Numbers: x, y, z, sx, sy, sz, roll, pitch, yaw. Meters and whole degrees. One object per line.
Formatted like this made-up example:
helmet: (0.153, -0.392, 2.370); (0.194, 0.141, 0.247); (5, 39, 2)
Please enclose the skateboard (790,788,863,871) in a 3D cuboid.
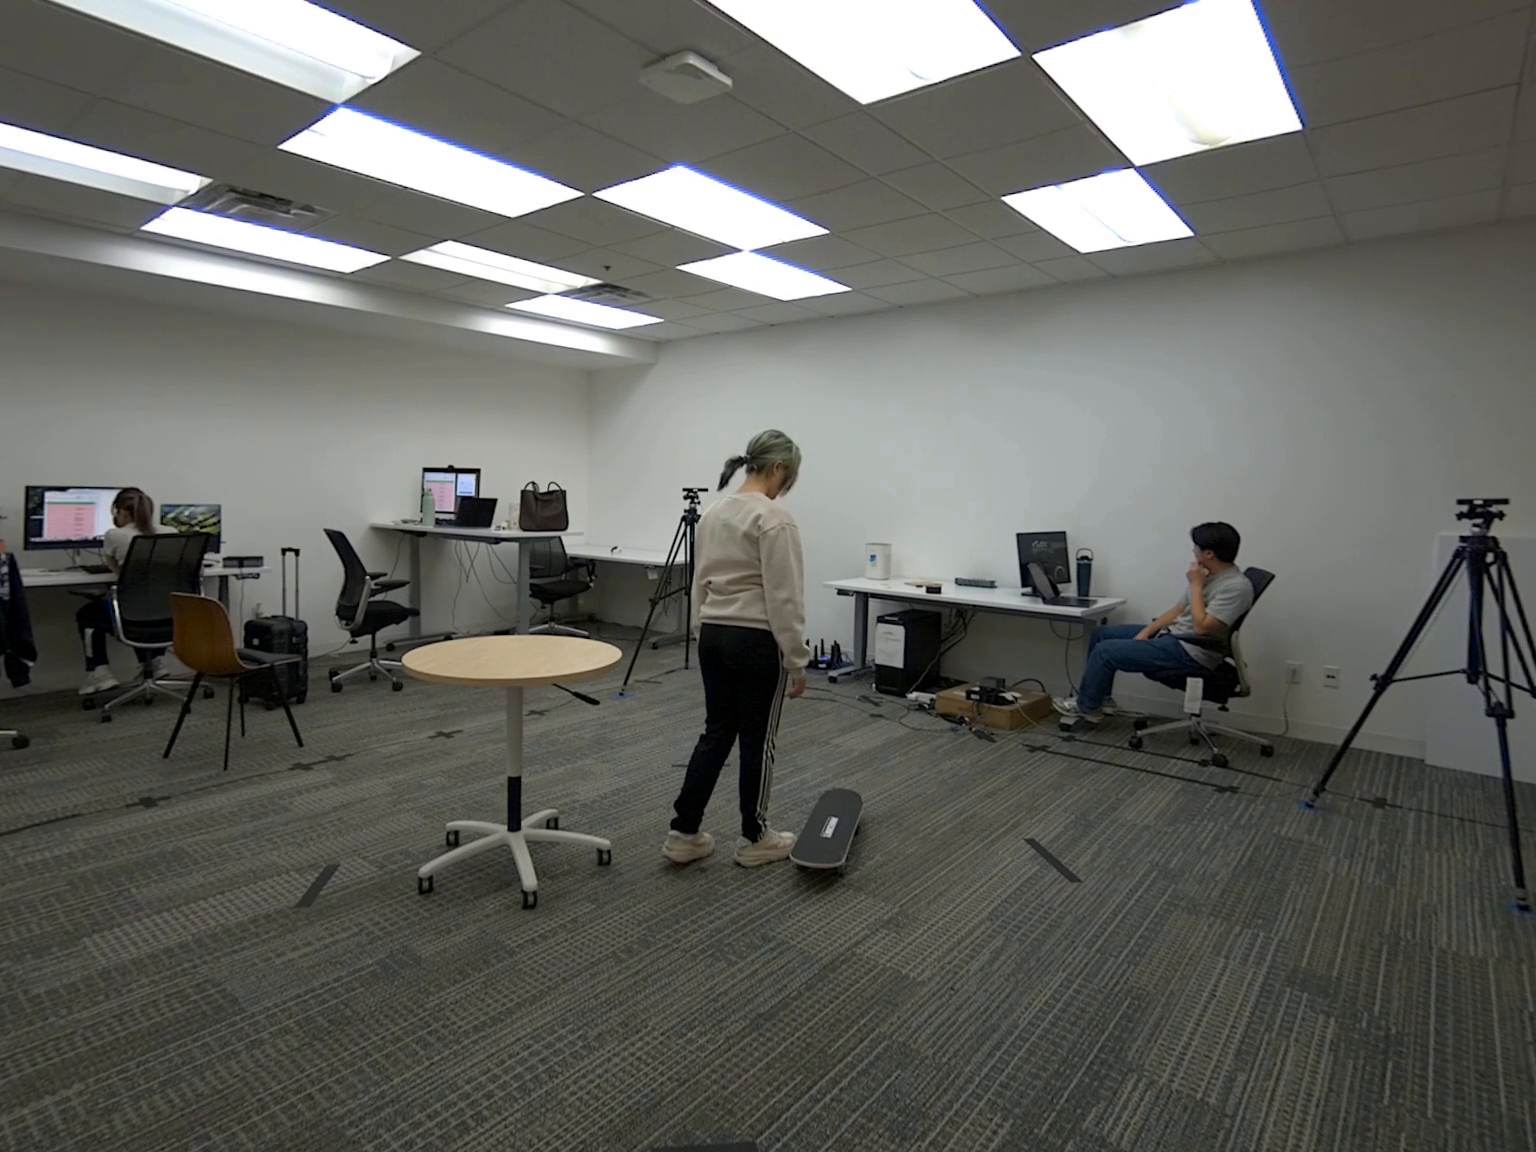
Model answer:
skateboard: (0.232, 1.000, 3.310); (0.197, 0.110, 0.775); (2, 6, 14)
